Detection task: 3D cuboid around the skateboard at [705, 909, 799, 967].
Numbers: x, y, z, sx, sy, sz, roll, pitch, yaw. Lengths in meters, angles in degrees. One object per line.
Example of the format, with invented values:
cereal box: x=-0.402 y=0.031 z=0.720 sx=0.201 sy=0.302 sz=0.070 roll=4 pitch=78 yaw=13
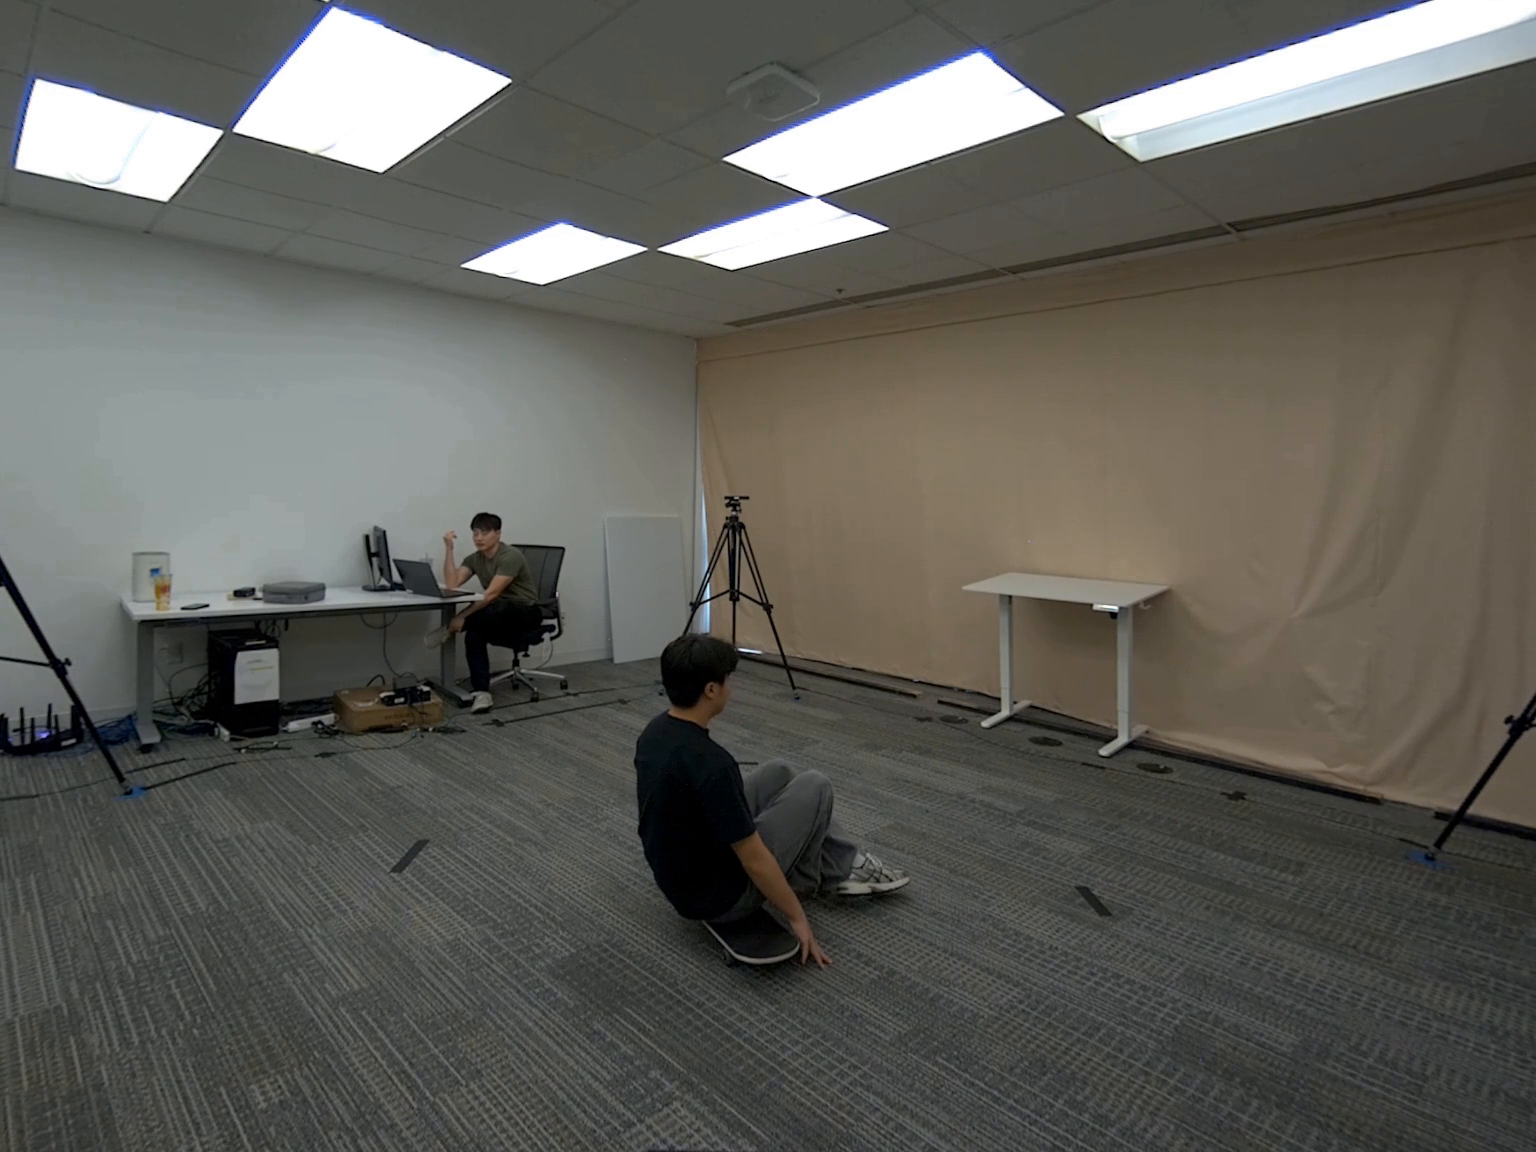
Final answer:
skateboard: x=-0.145 y=1.082 z=2.717 sx=0.190 sy=0.110 sz=0.802 roll=-9 pitch=9 yaw=-27
